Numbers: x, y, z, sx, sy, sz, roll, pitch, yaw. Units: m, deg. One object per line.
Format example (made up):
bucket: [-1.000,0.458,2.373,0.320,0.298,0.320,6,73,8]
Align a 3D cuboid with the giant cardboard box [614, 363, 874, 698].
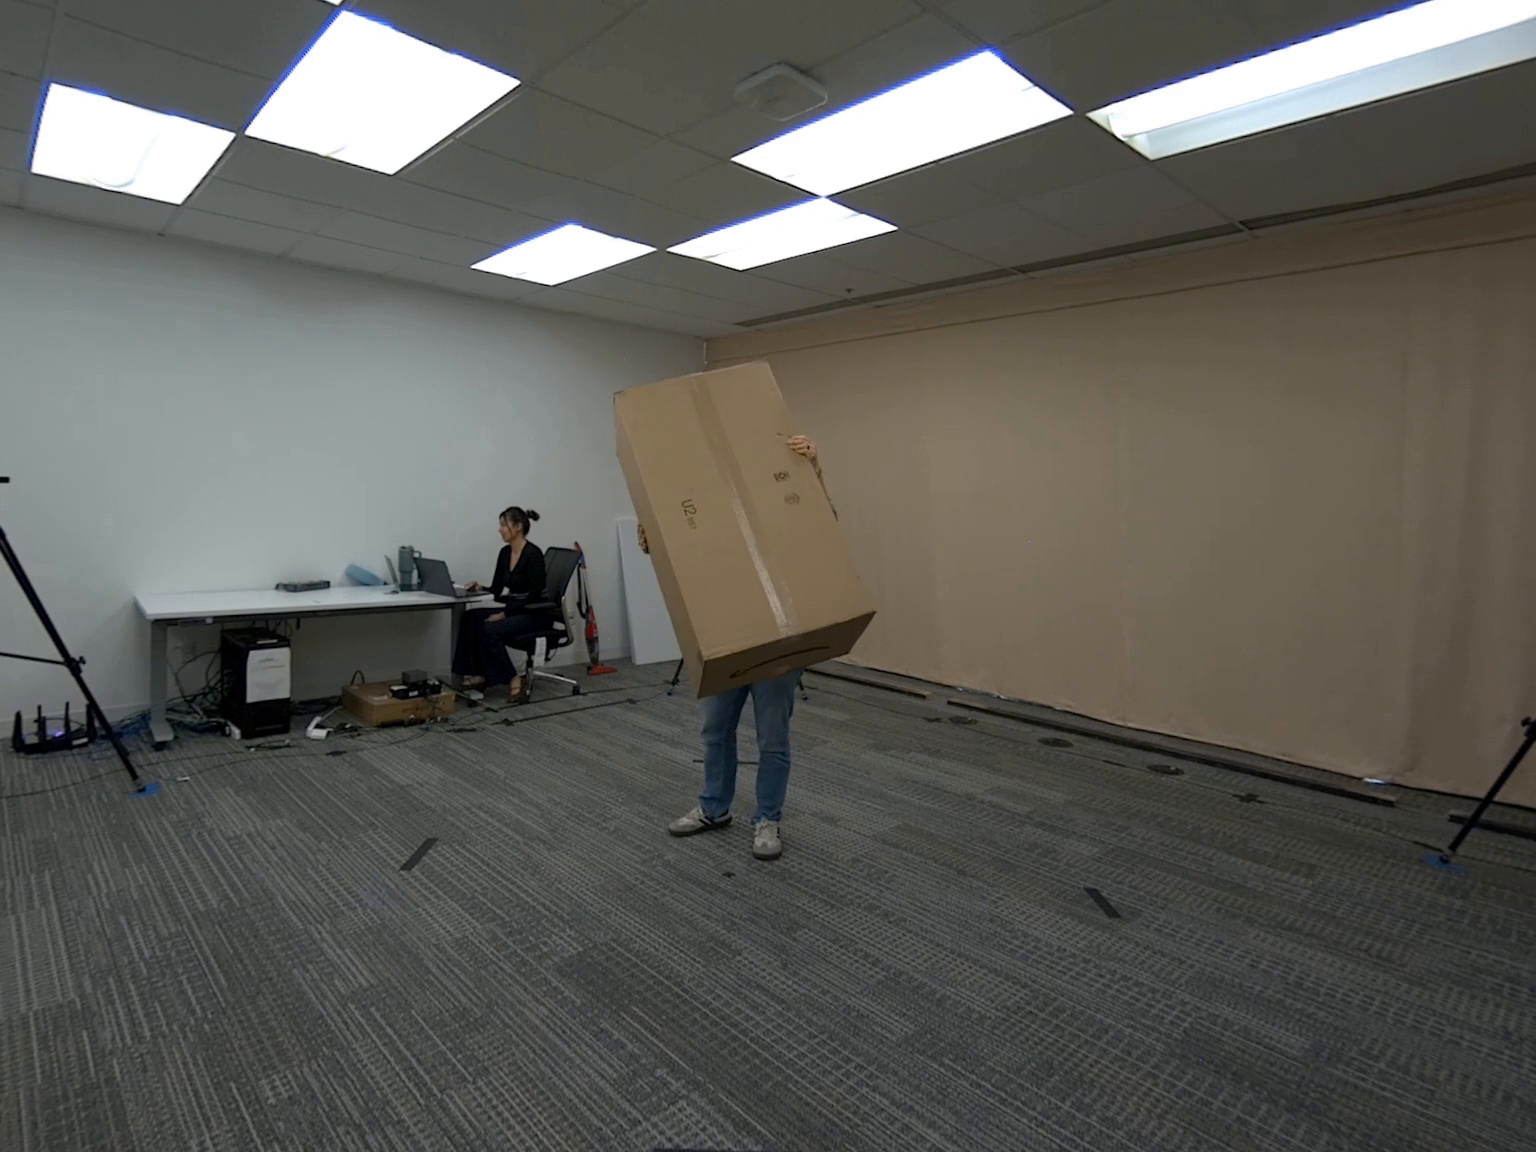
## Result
giant cardboard box: [-0.132,-0.176,2.972,0.573,1.047,0.421,-15,-23,-13]
